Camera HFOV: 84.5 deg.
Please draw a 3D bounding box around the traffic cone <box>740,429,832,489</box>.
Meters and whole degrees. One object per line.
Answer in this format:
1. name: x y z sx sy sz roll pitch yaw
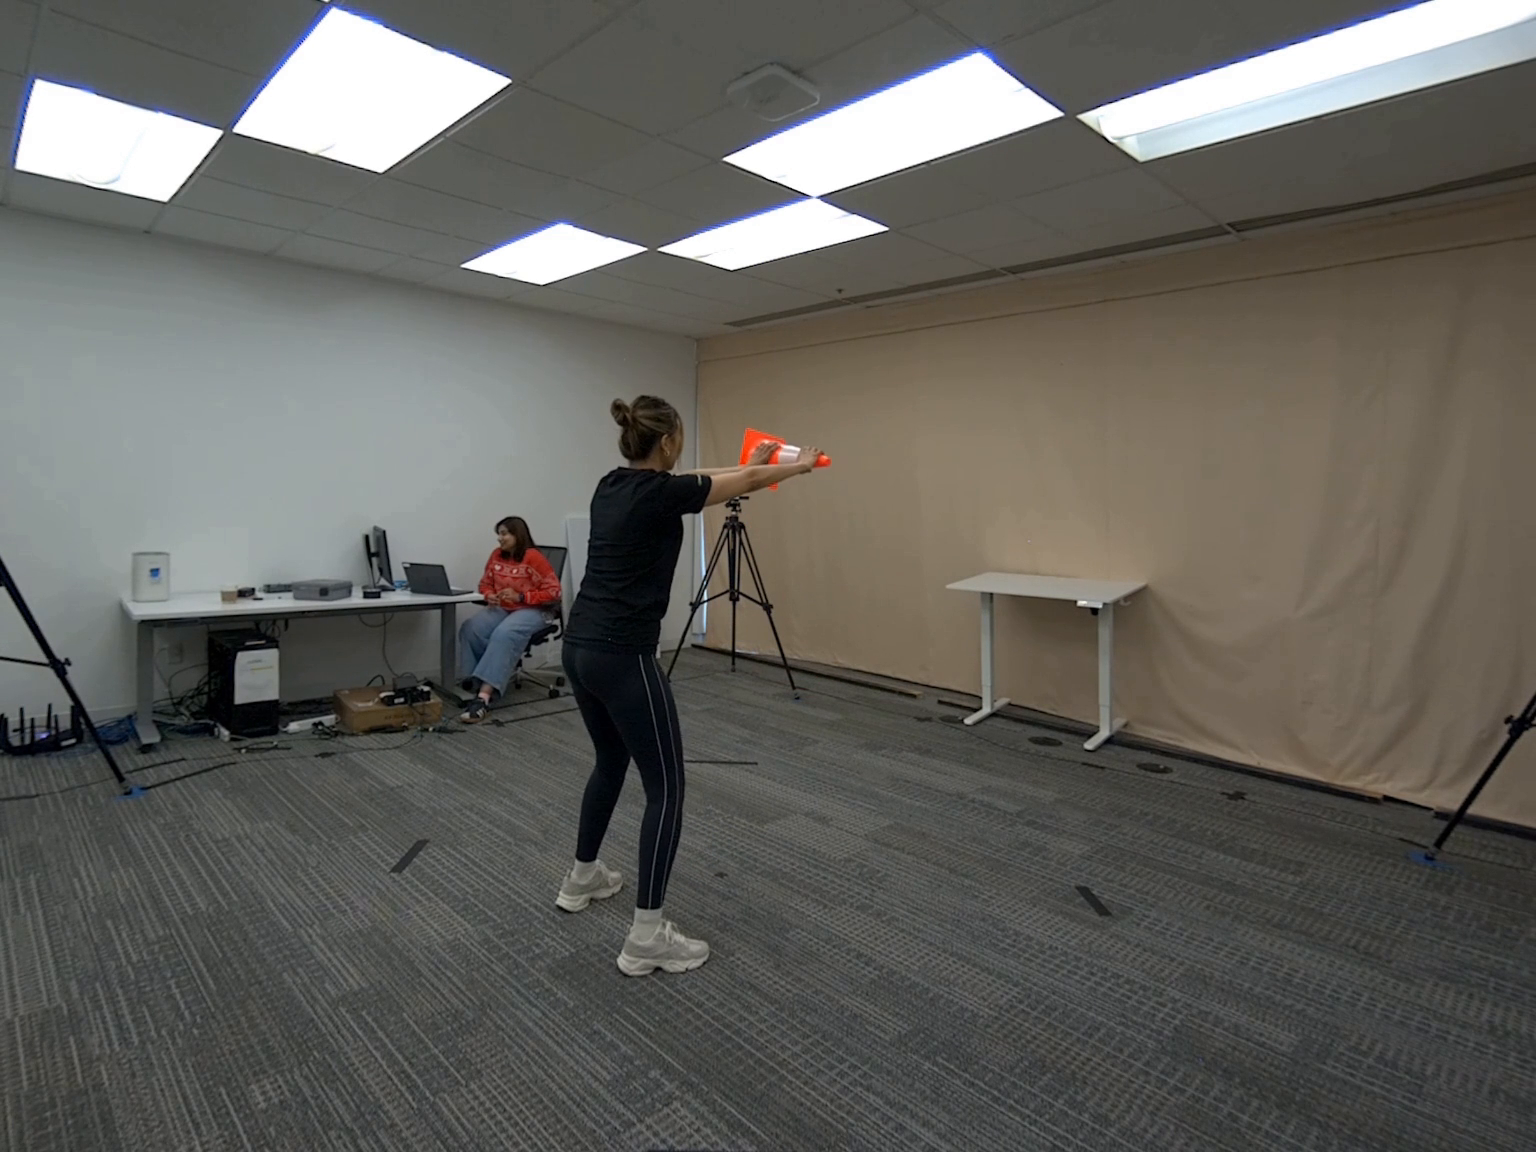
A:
1. traffic cone: 0.080 -0.410 3.066 0.198 0.205 0.394 13 1 -37
